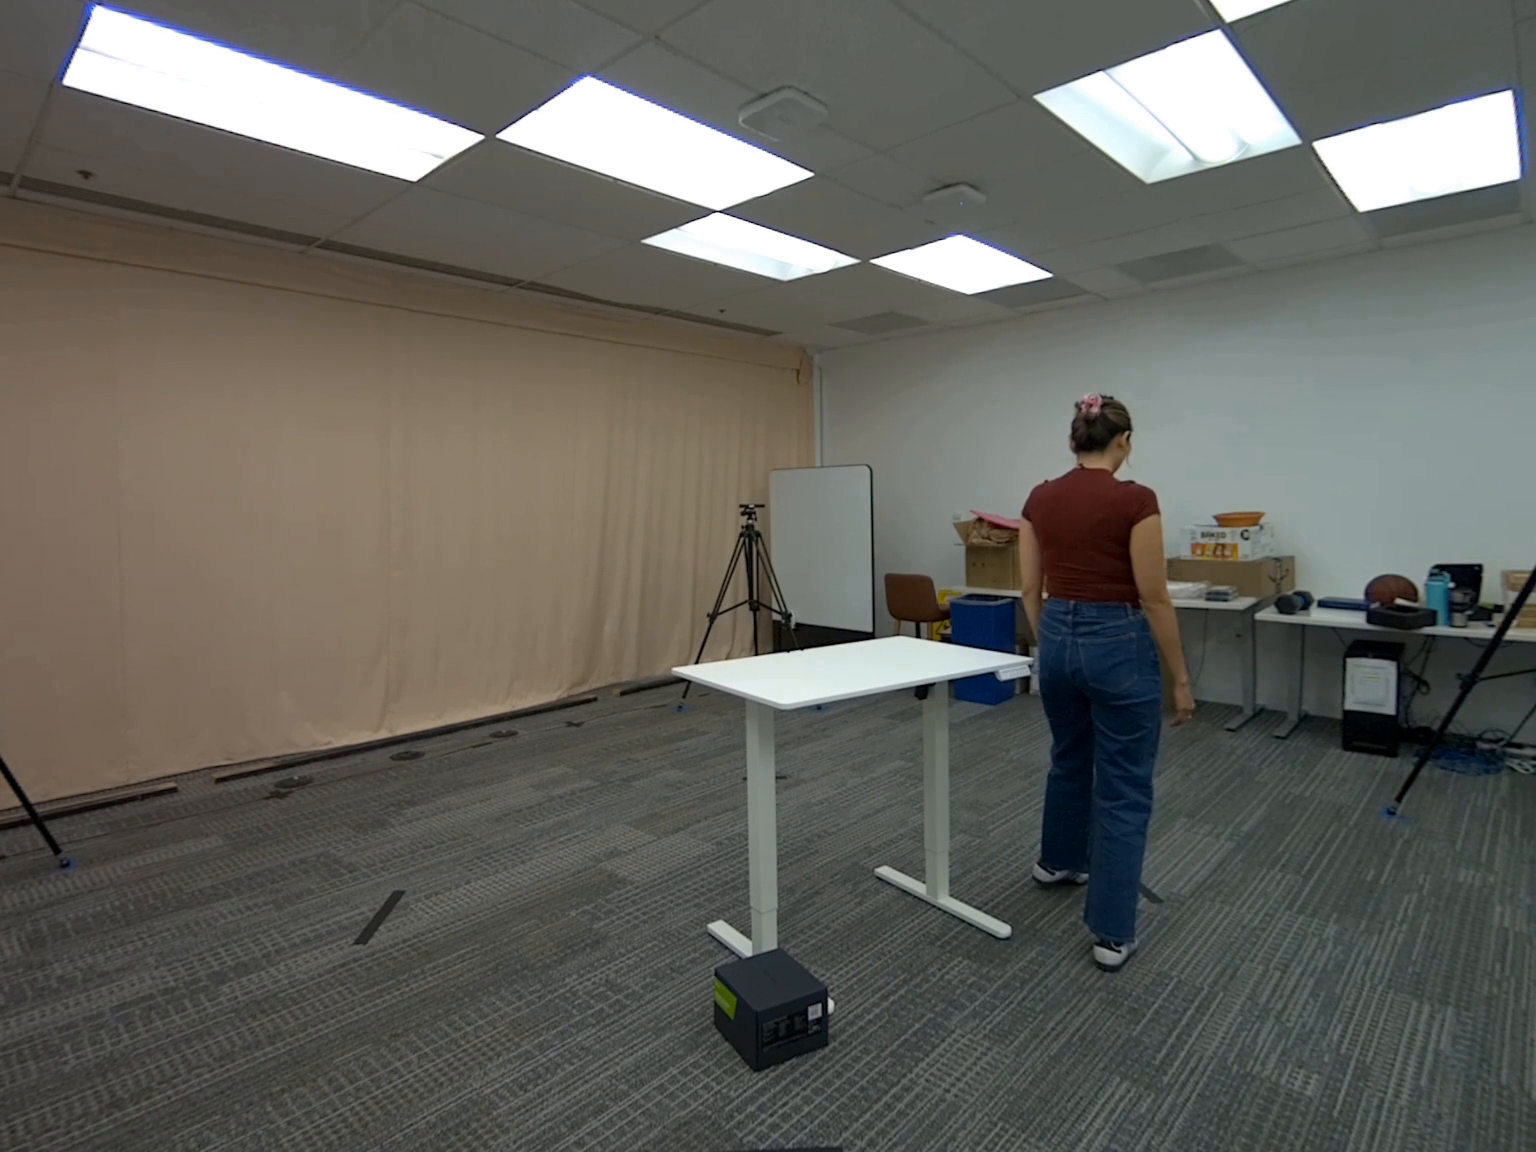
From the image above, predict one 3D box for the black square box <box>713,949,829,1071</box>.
[{"bbox_3d":[0.005,1.123,2.203,0.211,0.155,0.234,-3,5,-30],"label":"black square box"}]
